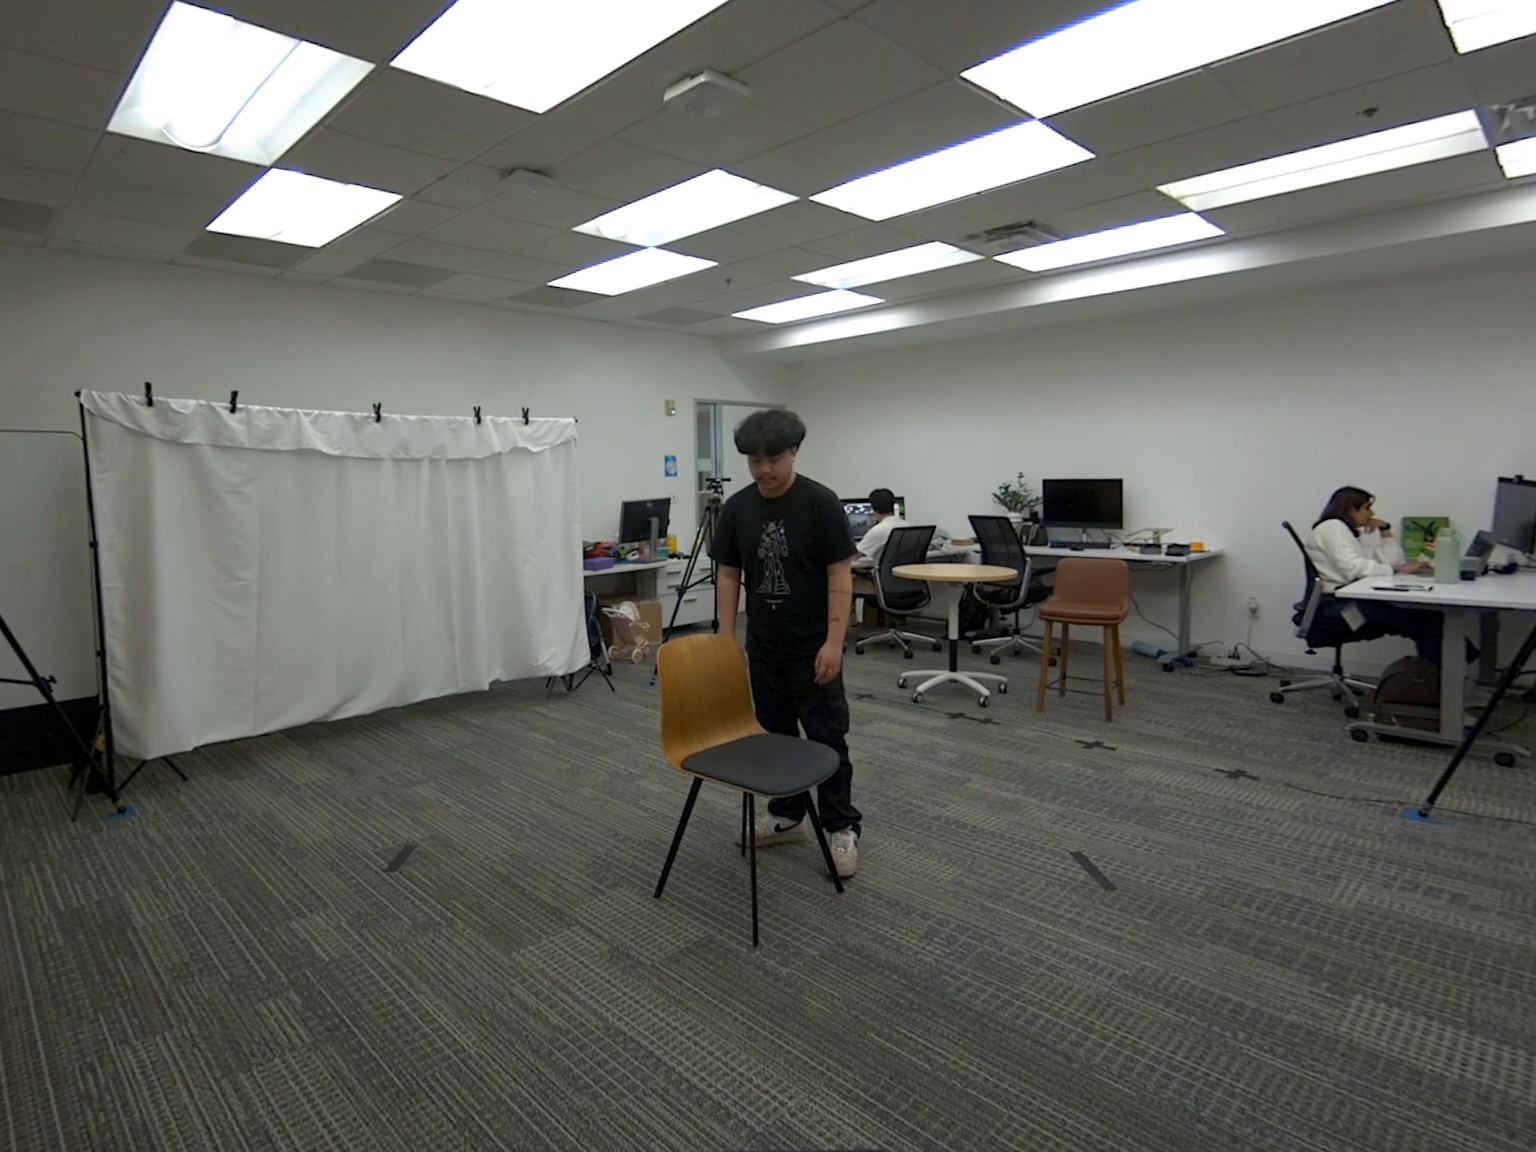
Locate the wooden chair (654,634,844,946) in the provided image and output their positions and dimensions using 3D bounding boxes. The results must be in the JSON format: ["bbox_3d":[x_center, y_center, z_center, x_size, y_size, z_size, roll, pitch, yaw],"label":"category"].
[{"bbox_3d":[-0.068,0.649,2.824,0.537,0.877,0.465,-3,1,42],"label":"wooden chair"}]
